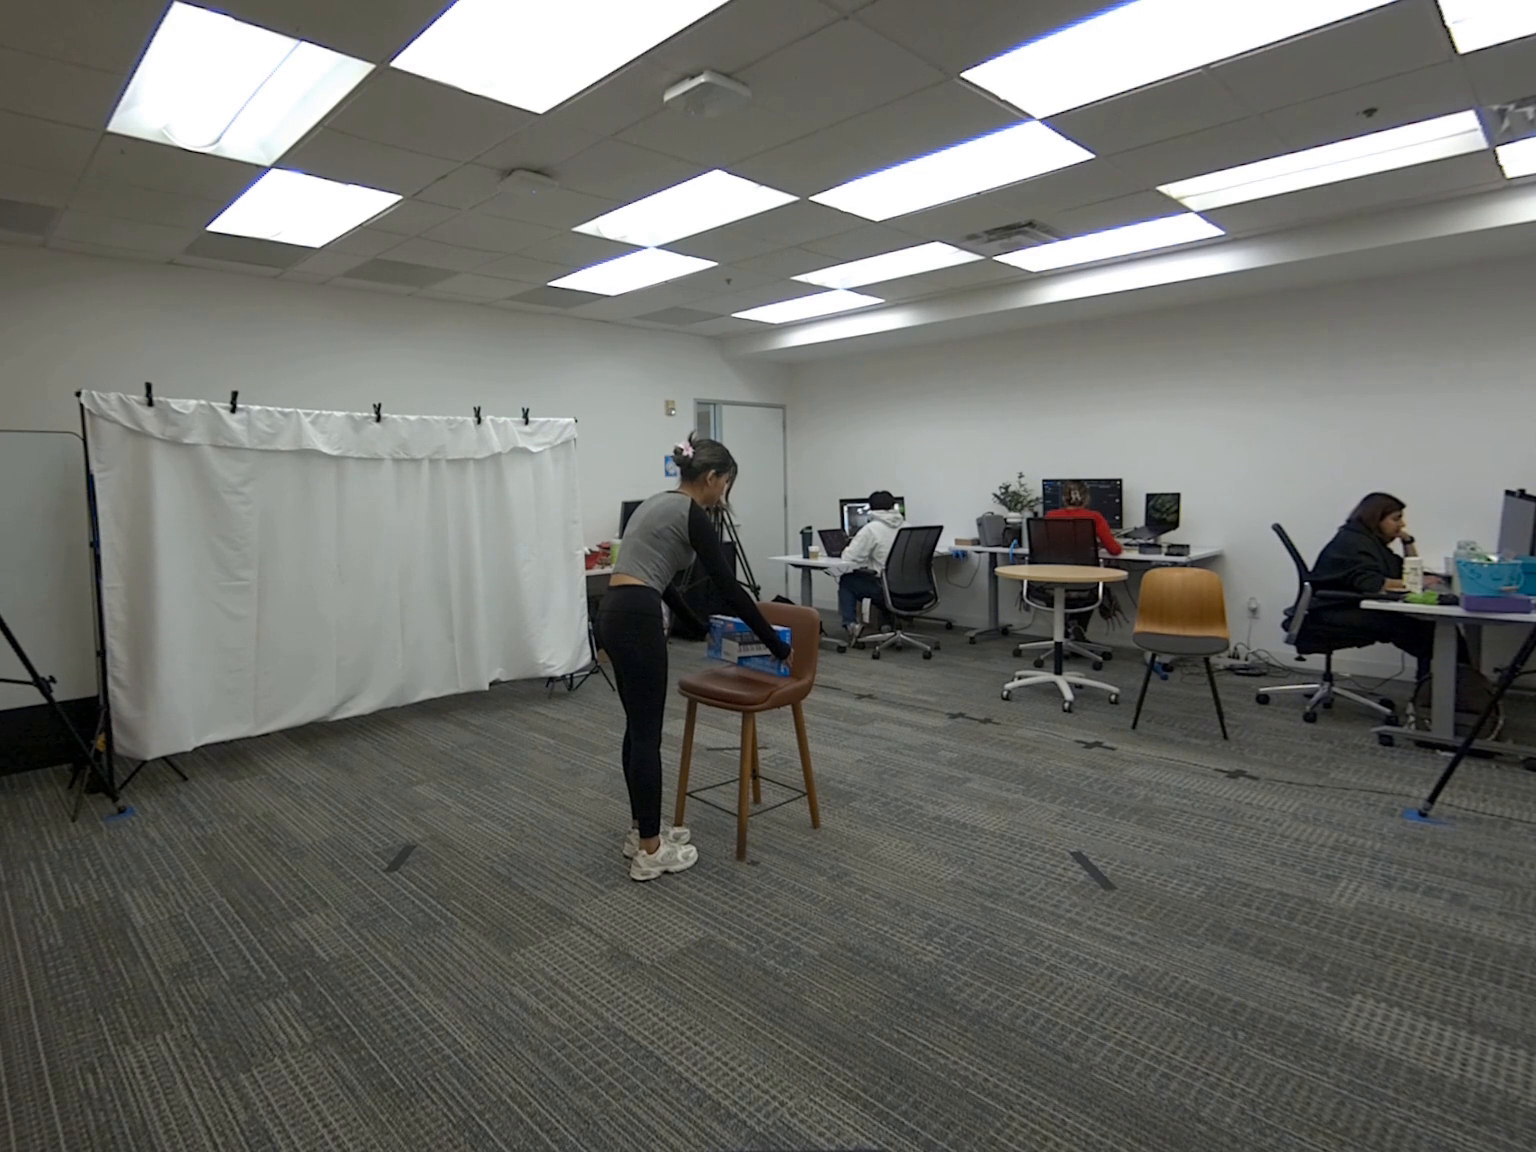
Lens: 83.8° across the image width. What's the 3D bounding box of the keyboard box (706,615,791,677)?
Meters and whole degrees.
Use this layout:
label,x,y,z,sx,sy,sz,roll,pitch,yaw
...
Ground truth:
label,x,y,z,sx,sy,sz,roll,pitch,yaw
keyboard box,-0.080,0.269,3.363,0.057,0.175,0.450,0,4,-40
